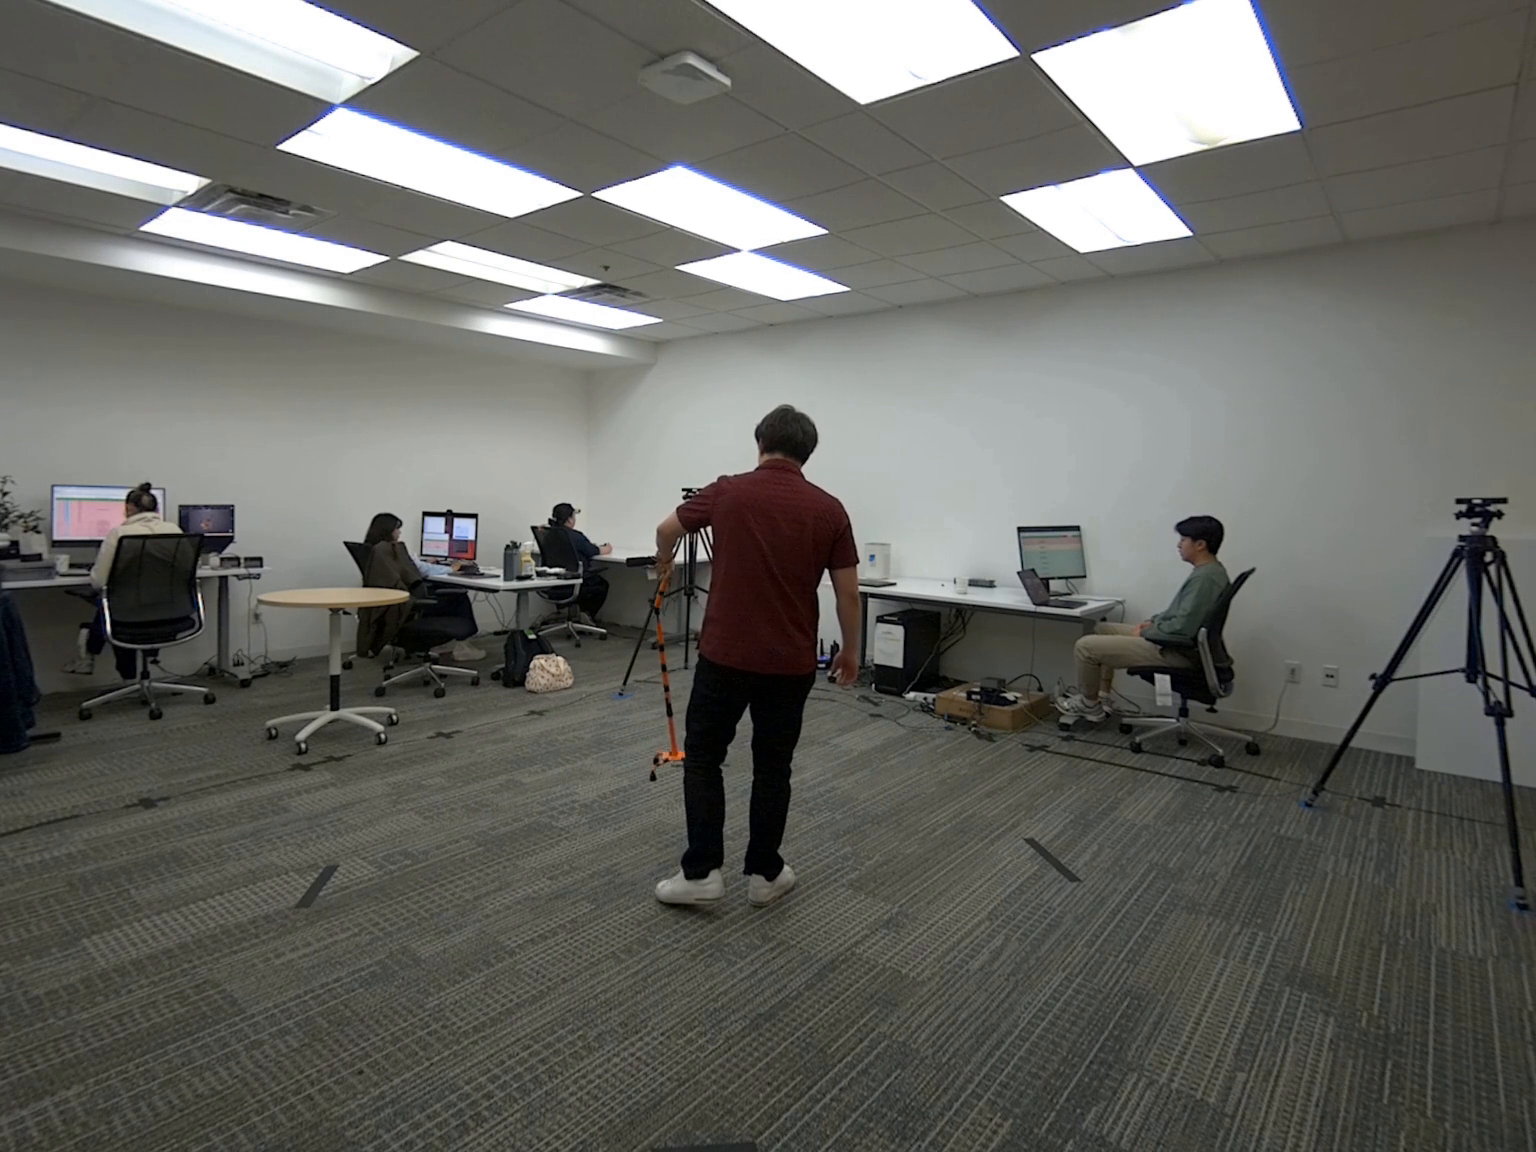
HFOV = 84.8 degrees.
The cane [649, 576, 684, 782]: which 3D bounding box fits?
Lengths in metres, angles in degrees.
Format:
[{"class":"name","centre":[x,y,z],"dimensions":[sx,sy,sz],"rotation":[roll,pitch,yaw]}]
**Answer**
[{"class":"cane","centre":[-0.423,0.370,3.355],"dimensions":[0.206,0.895,0.154],"rotation":[-4,14,0]}]
